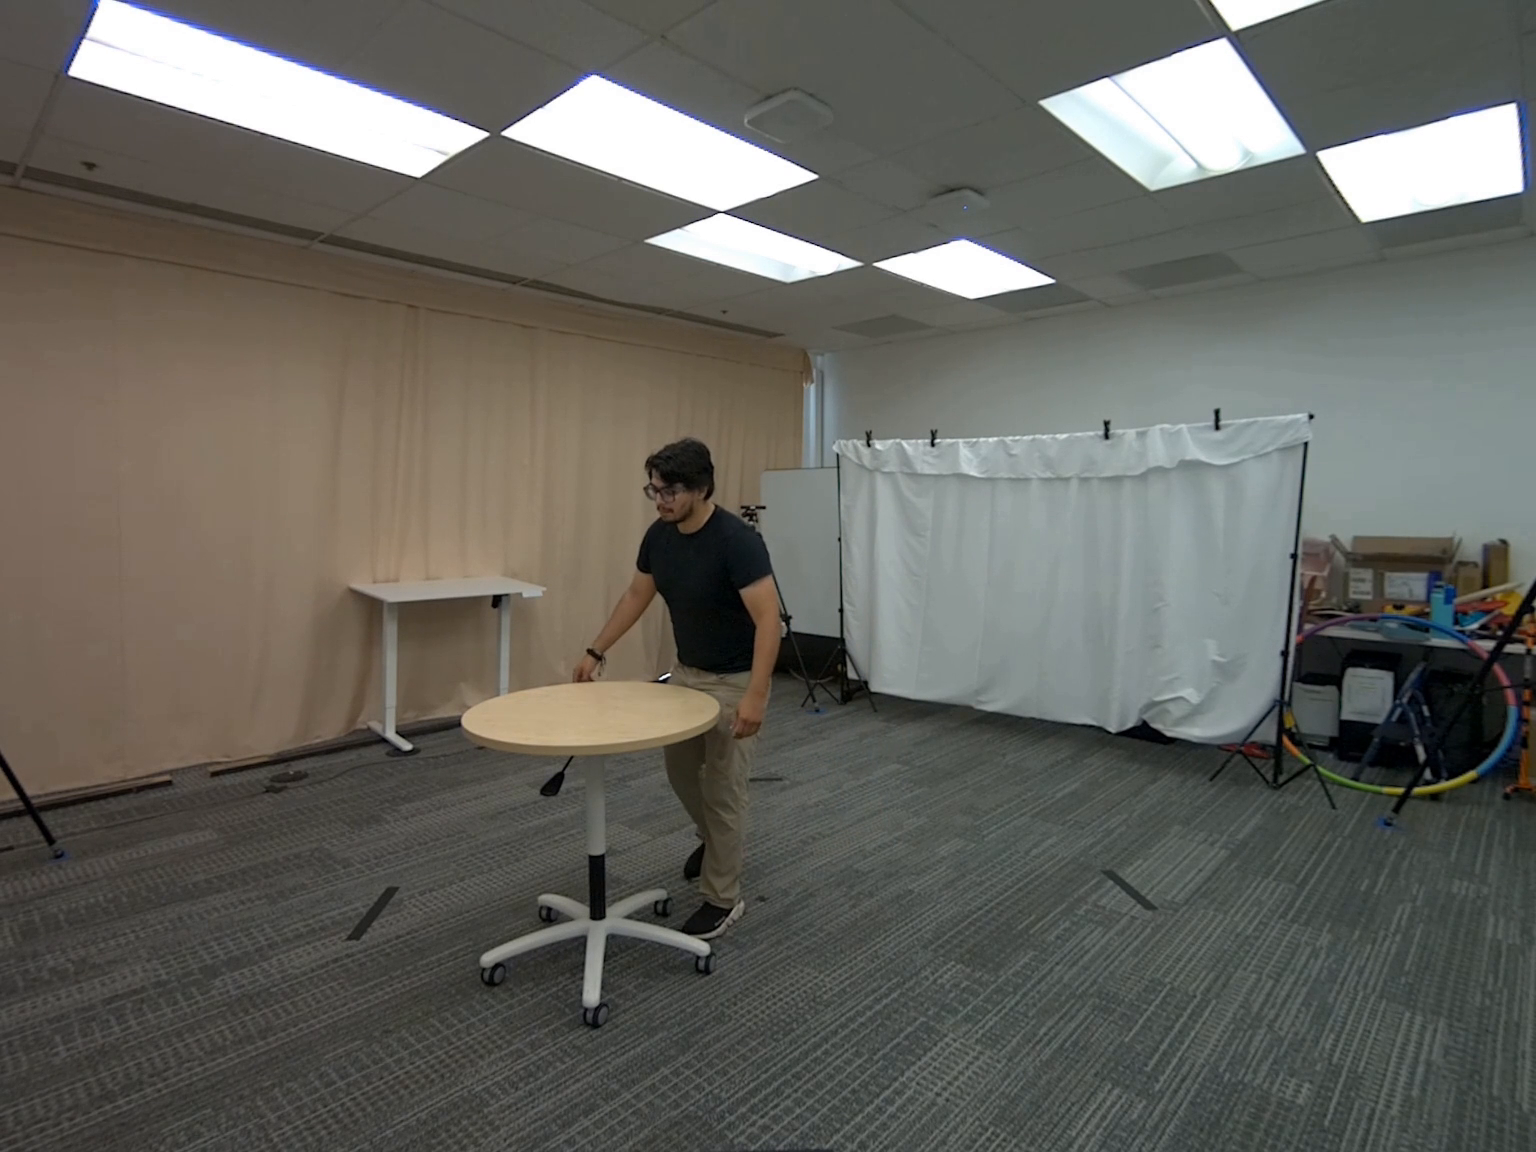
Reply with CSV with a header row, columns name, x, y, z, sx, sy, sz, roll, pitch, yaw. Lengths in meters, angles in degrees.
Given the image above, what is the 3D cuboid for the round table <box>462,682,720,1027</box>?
name,x,y,z,sx,sy,sz,roll,pitch,yaw
round table,-0.503,0.788,2.549,0.784,0.785,0.788,-1,4,-2
